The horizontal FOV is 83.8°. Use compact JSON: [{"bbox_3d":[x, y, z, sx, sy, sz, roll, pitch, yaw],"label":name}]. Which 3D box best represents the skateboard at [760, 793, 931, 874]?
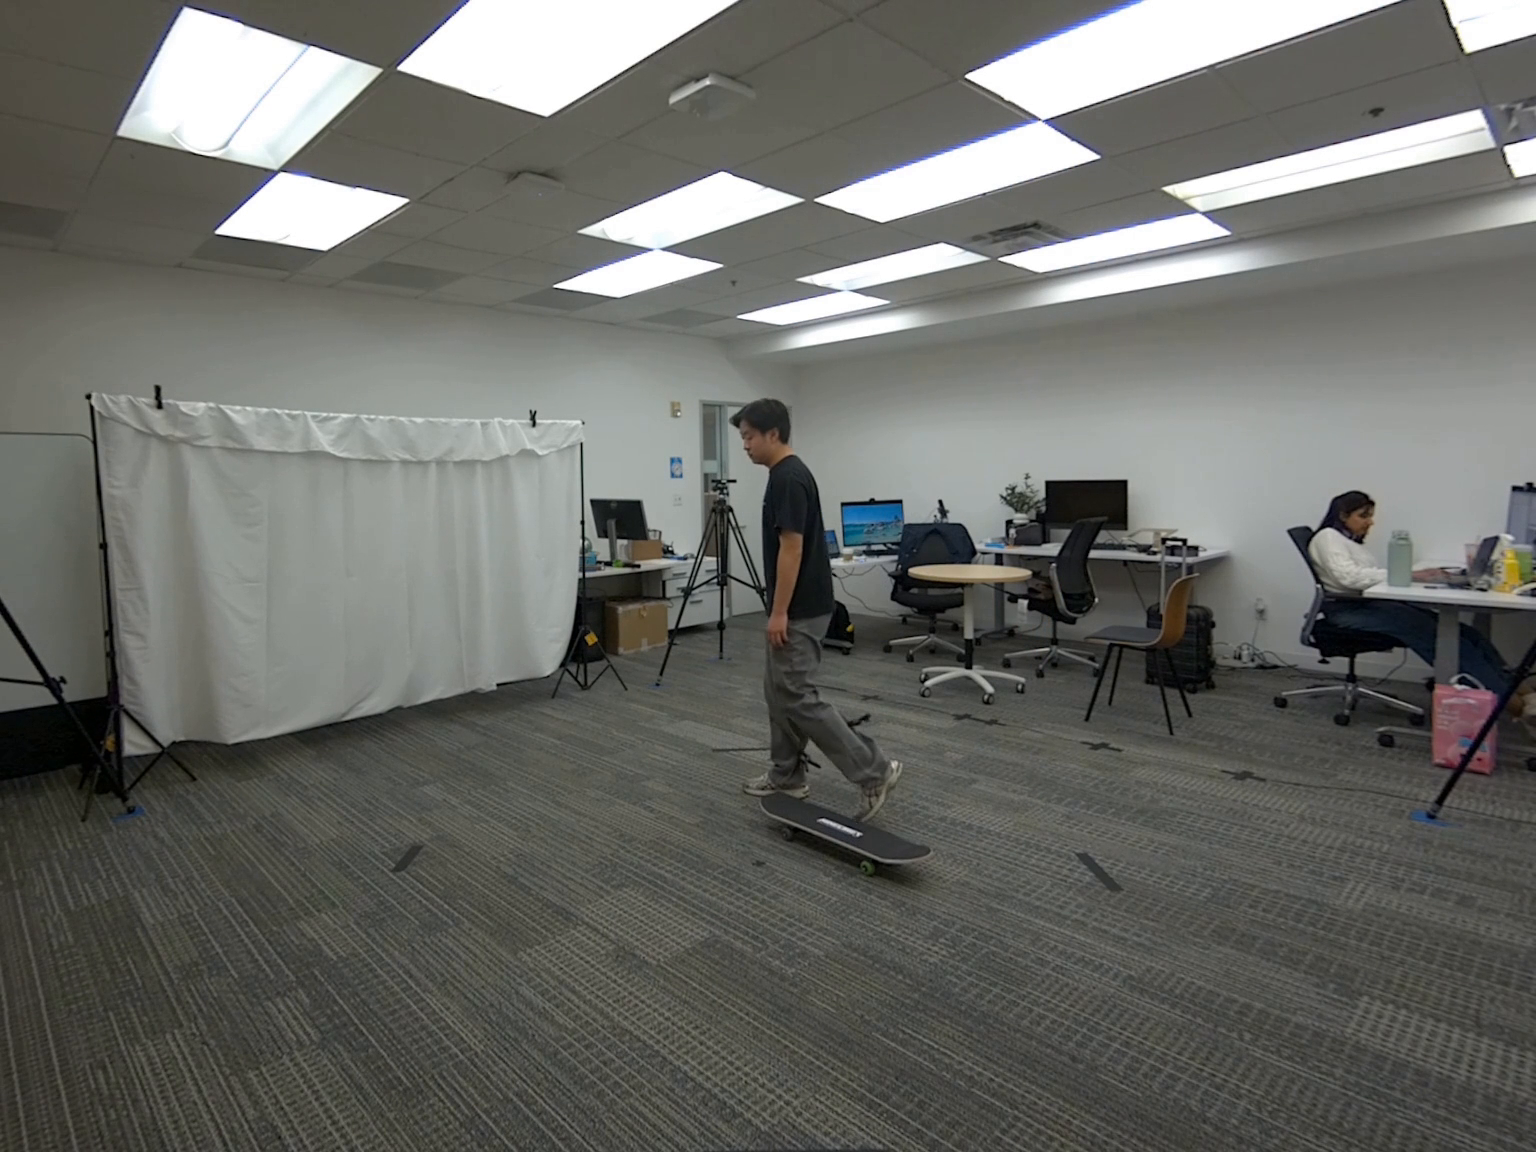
[{"bbox_3d":[0.272,0.979,3.205,0.188,0.110,0.810,-7,9,-42],"label":"skateboard"}]
